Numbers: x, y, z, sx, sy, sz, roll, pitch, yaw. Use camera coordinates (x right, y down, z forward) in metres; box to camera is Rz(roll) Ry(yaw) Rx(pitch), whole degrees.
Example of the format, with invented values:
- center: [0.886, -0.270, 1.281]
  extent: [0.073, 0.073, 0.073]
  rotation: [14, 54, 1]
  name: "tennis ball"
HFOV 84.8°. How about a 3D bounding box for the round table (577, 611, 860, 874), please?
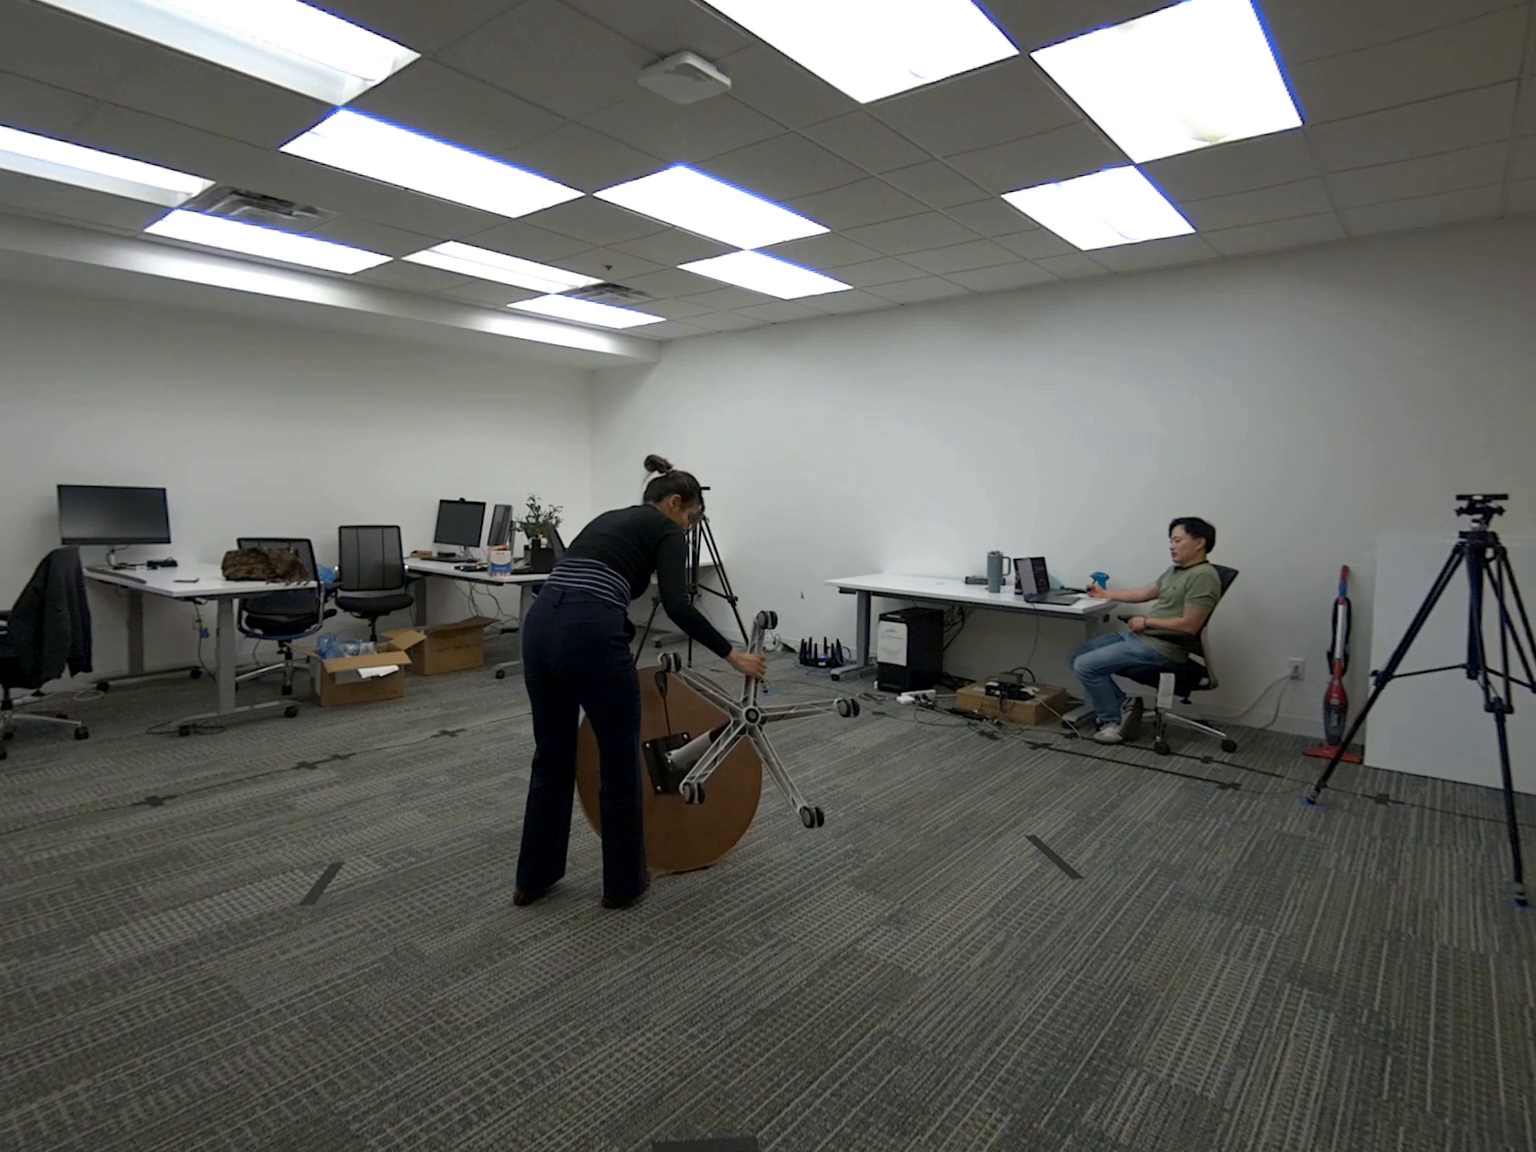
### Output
- center: [-0.194, 0.564, 2.916]
  extent: [0.744, 0.782, 0.796]
  rotation: [-2, -23, -29]
  name: "round table"
